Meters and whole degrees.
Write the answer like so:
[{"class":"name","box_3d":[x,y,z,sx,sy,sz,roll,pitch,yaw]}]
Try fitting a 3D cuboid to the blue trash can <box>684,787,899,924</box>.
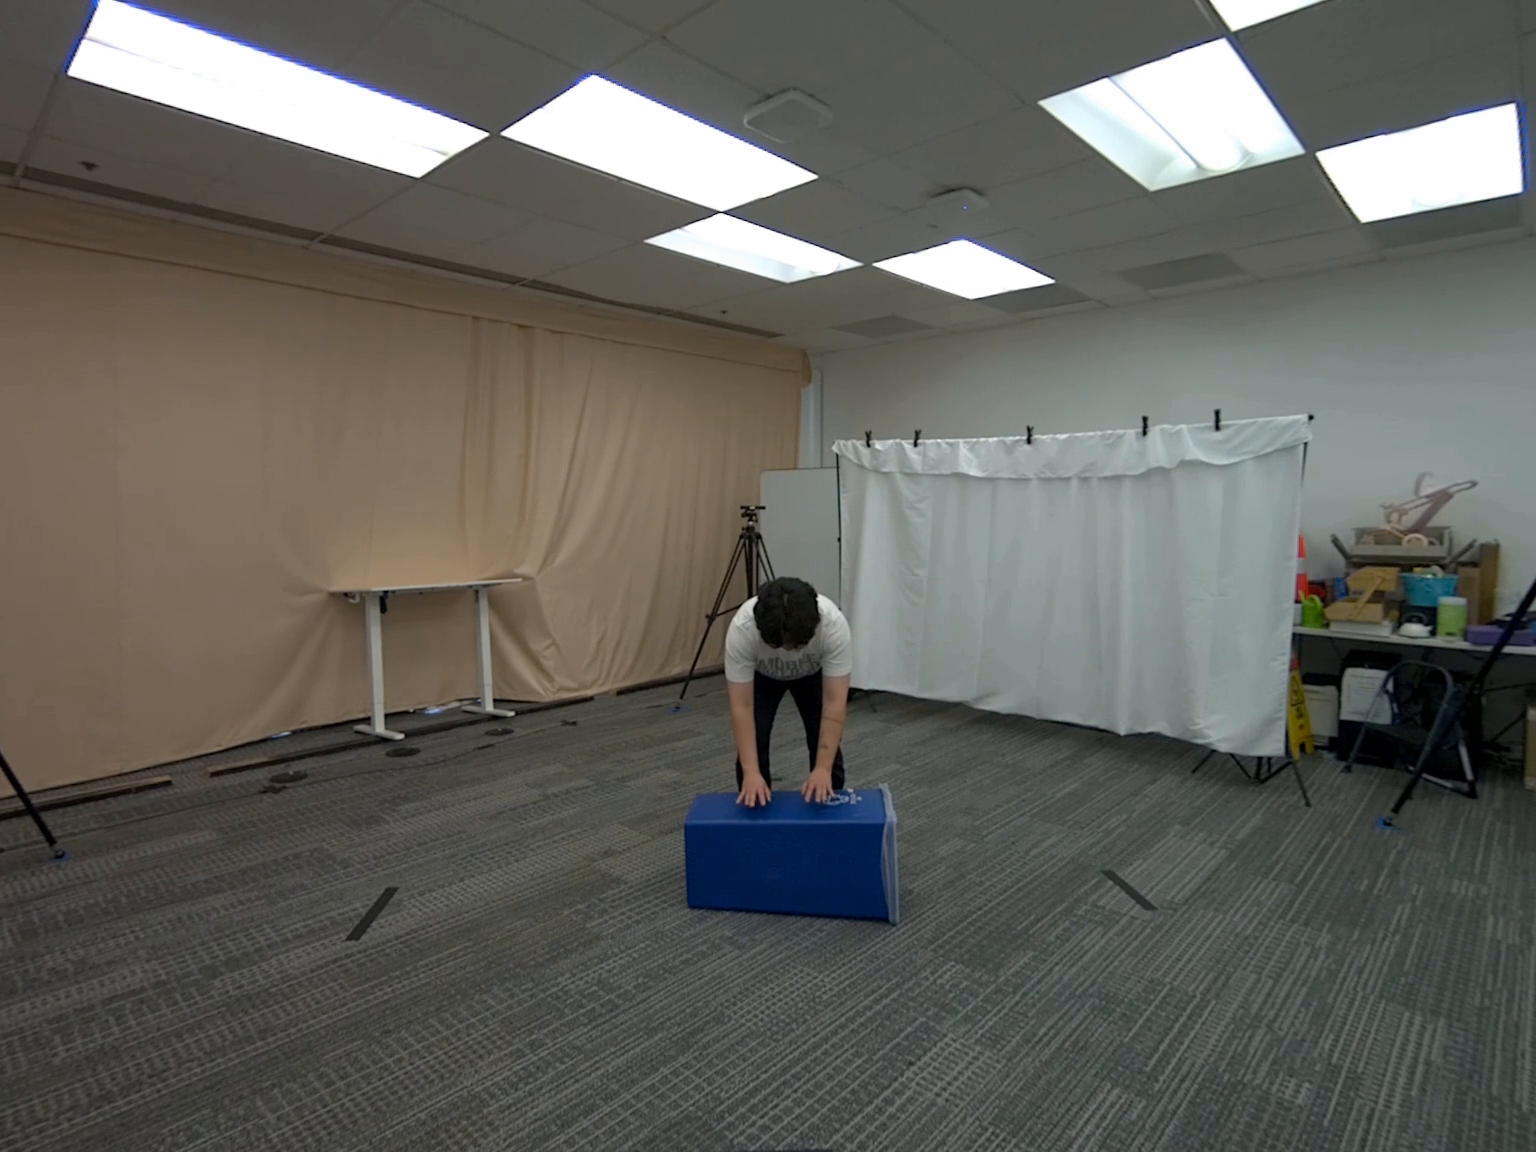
[{"class":"blue trash can","box_3d":[0.090,0.972,2.992,0.719,0.377,0.372,-2,4,6]}]
